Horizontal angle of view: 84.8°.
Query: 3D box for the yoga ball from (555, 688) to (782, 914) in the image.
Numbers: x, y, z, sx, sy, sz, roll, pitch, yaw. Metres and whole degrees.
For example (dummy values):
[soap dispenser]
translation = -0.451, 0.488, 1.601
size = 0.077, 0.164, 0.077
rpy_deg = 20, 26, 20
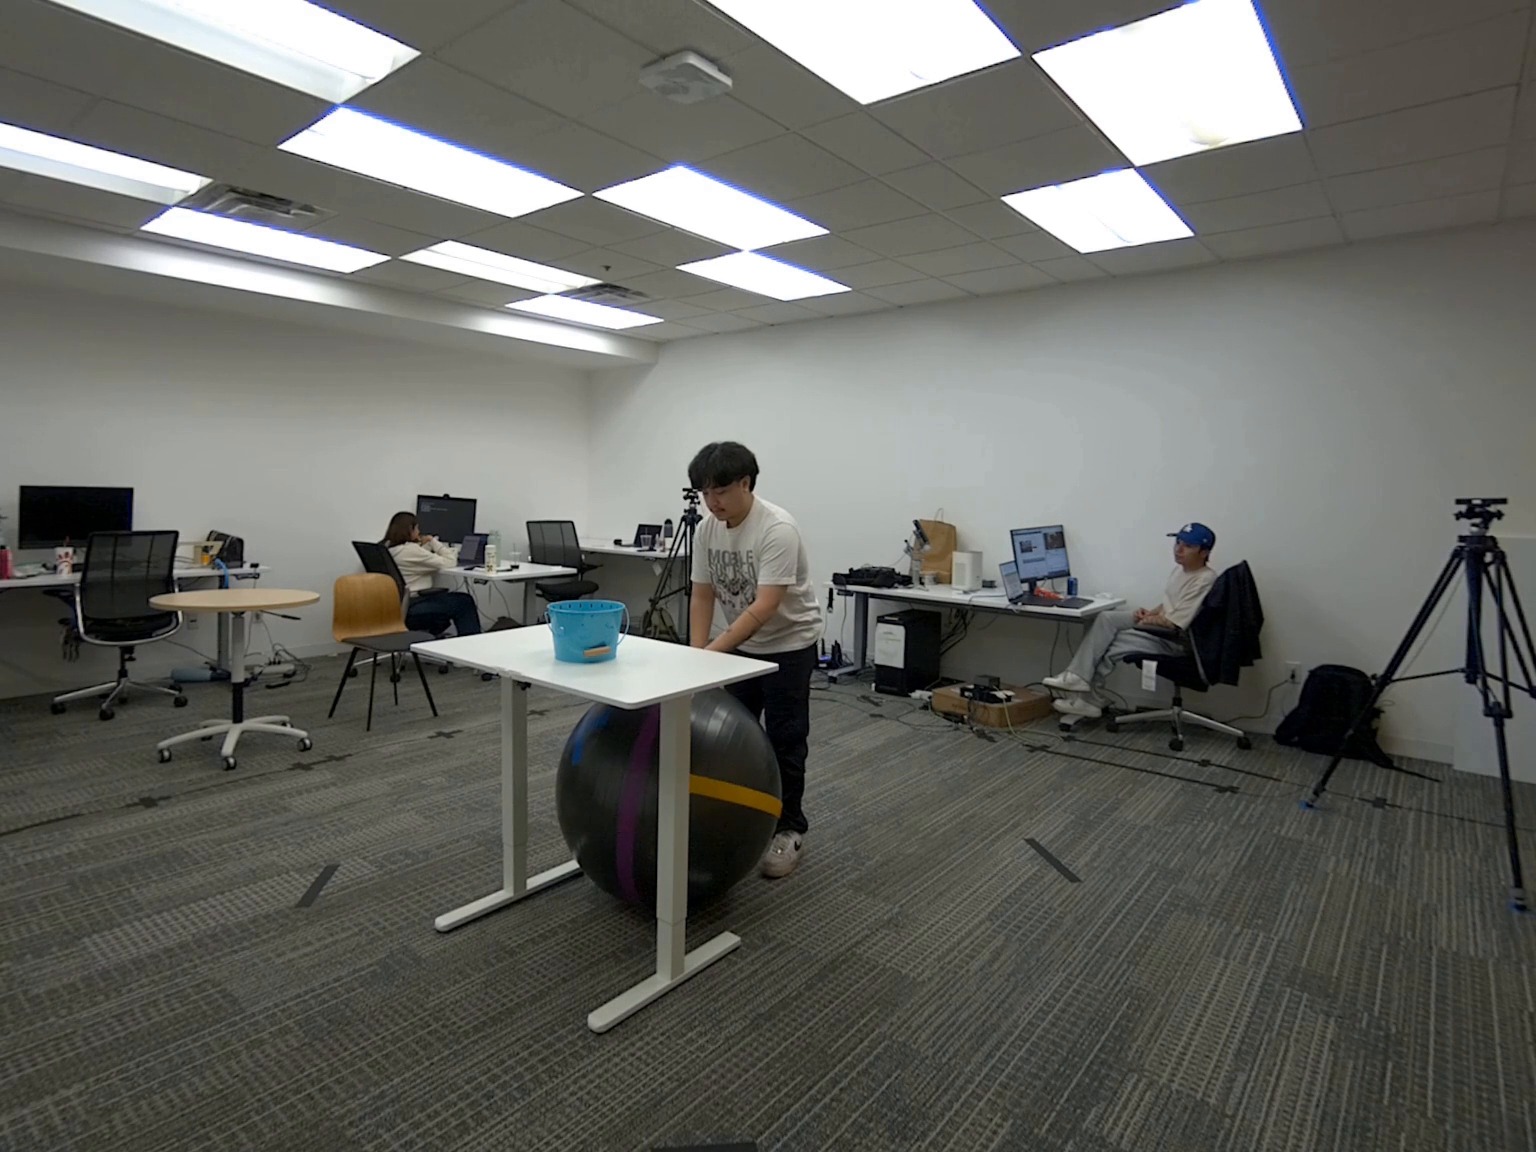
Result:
[yoga ball]
translation = -0.348, 0.725, 2.878
size = 0.757, 0.755, 0.762
rpy_deg = 1, 4, -2
